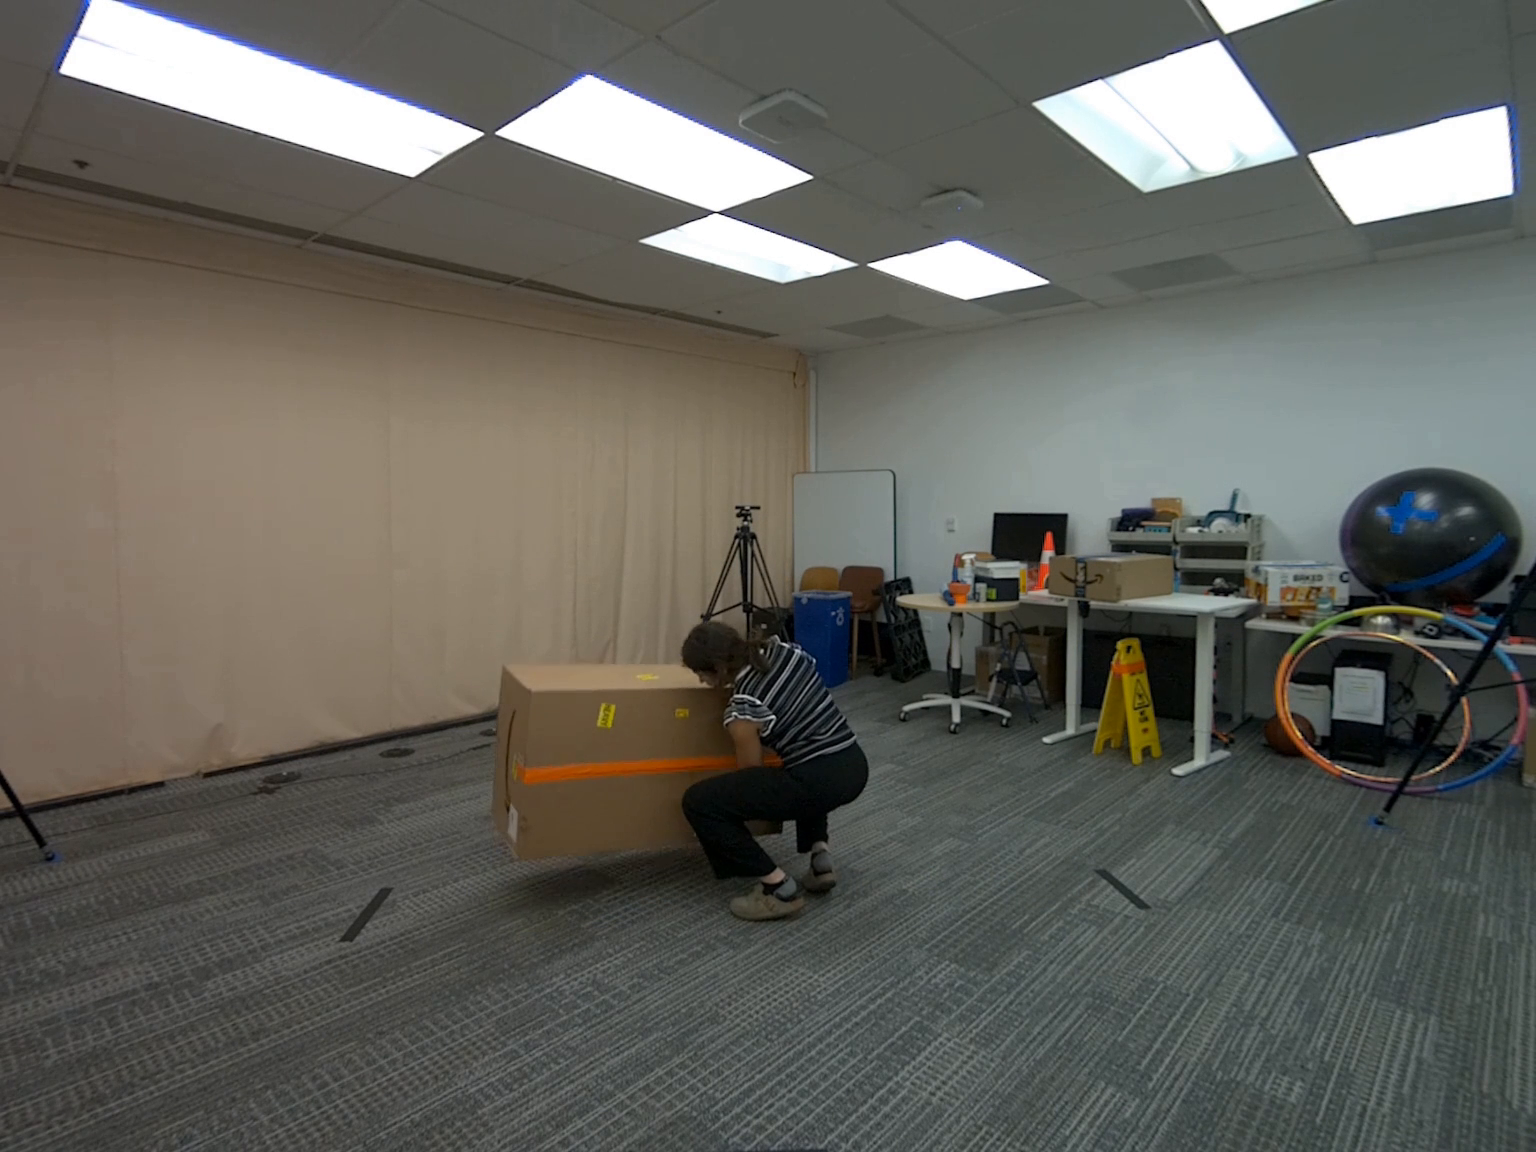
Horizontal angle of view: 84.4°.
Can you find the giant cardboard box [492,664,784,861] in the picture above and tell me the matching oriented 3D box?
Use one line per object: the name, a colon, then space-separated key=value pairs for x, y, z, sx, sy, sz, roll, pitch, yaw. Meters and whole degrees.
giant cardboard box: x=-0.469 y=0.645 z=3.161 sx=0.999 sy=0.577 sz=0.438 roll=4 pitch=3 yaw=-27
